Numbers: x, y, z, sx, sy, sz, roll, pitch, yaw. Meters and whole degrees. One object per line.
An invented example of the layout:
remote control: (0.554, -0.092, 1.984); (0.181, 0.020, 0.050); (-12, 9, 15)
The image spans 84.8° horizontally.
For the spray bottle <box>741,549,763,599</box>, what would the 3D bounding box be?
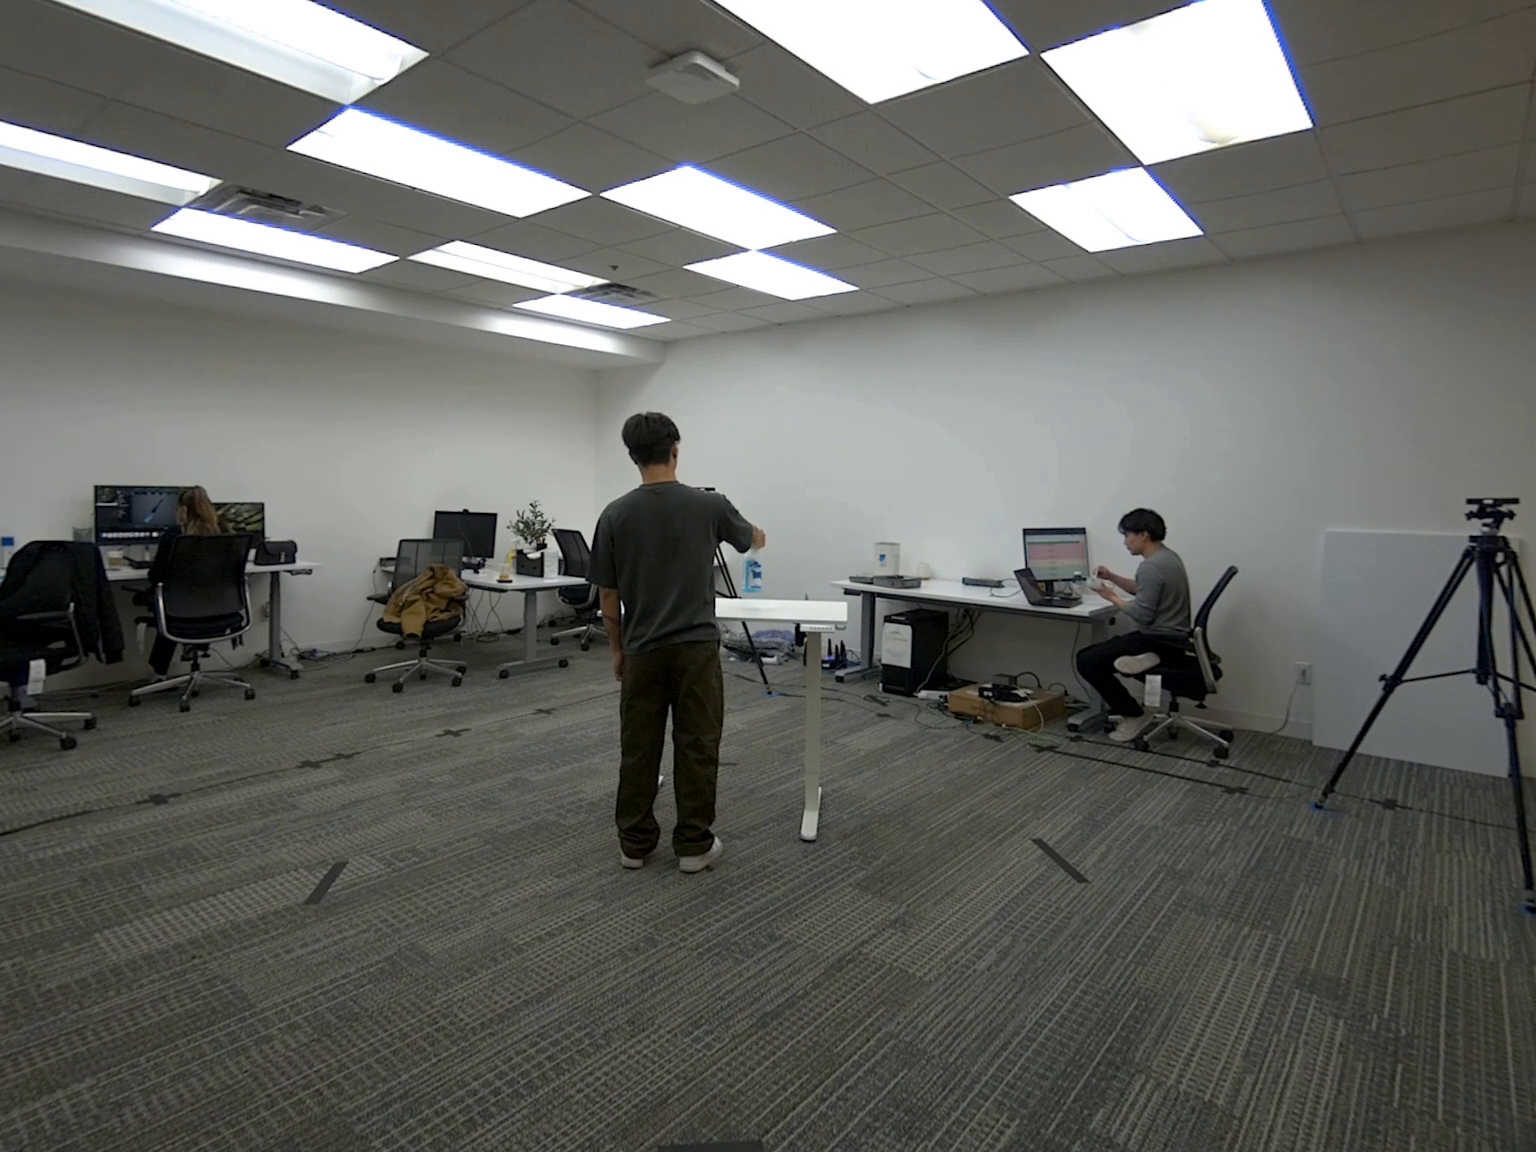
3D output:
spray bottle: (-0.072, -0.080, 3.643); (0.089, 0.299, 0.087); (0, -6, 29)
